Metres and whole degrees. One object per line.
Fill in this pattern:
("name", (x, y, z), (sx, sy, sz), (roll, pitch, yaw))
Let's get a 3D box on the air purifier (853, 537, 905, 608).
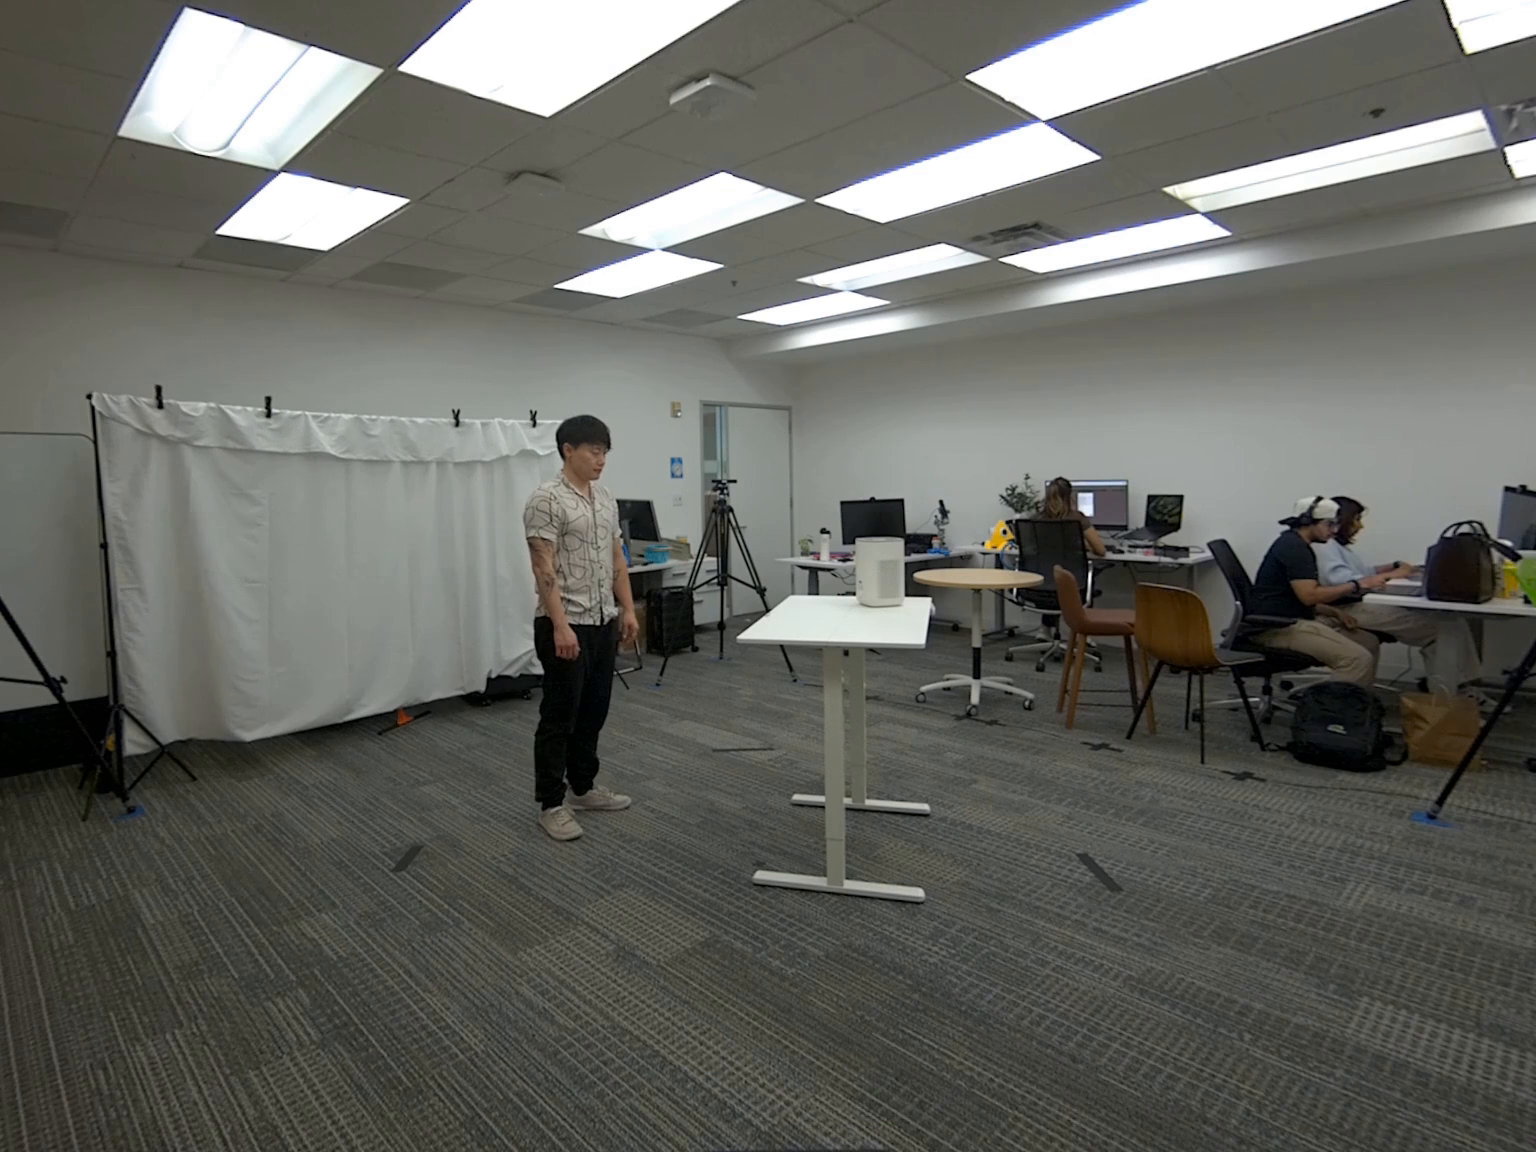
("air purifier", (0.448, -0.012, 3.436), (0.169, 0.264, 0.174), (-2, 6, -13))
